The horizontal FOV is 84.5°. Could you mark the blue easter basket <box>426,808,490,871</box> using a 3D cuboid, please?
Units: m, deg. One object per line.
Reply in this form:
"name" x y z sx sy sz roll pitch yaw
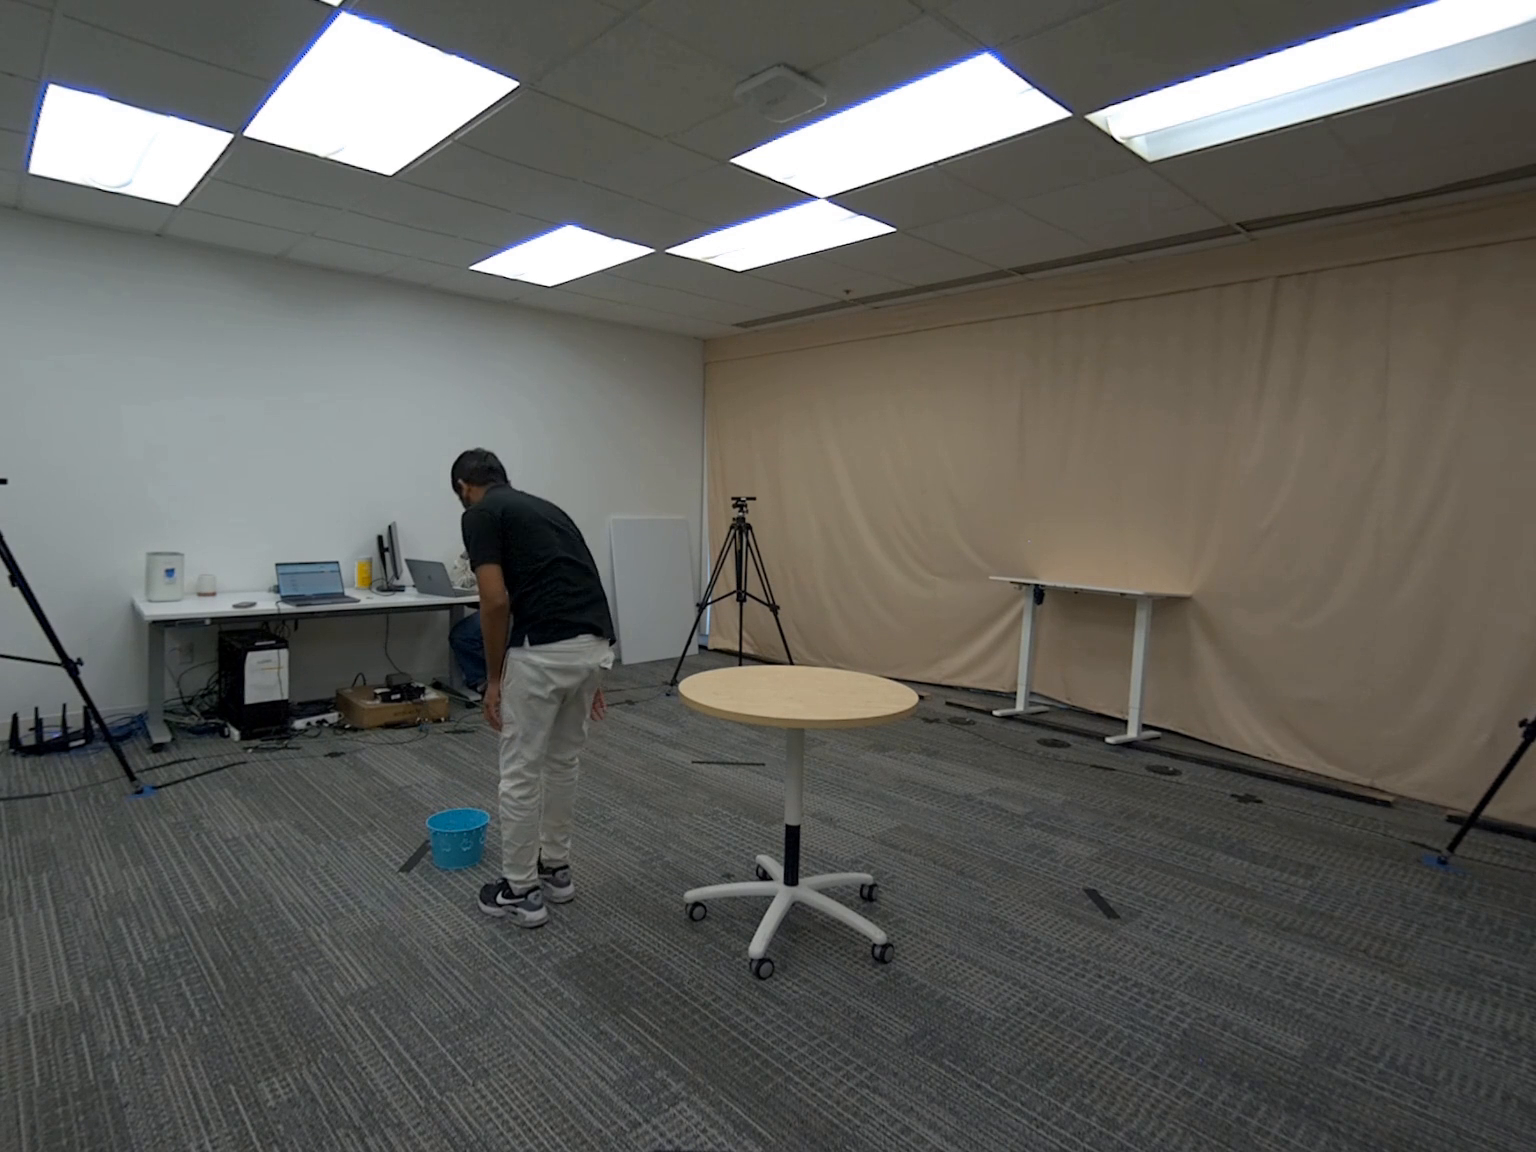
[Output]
"blue easter basket" -1.185 0.998 3.201 0.243 0.155 0.244 2 5 -1
